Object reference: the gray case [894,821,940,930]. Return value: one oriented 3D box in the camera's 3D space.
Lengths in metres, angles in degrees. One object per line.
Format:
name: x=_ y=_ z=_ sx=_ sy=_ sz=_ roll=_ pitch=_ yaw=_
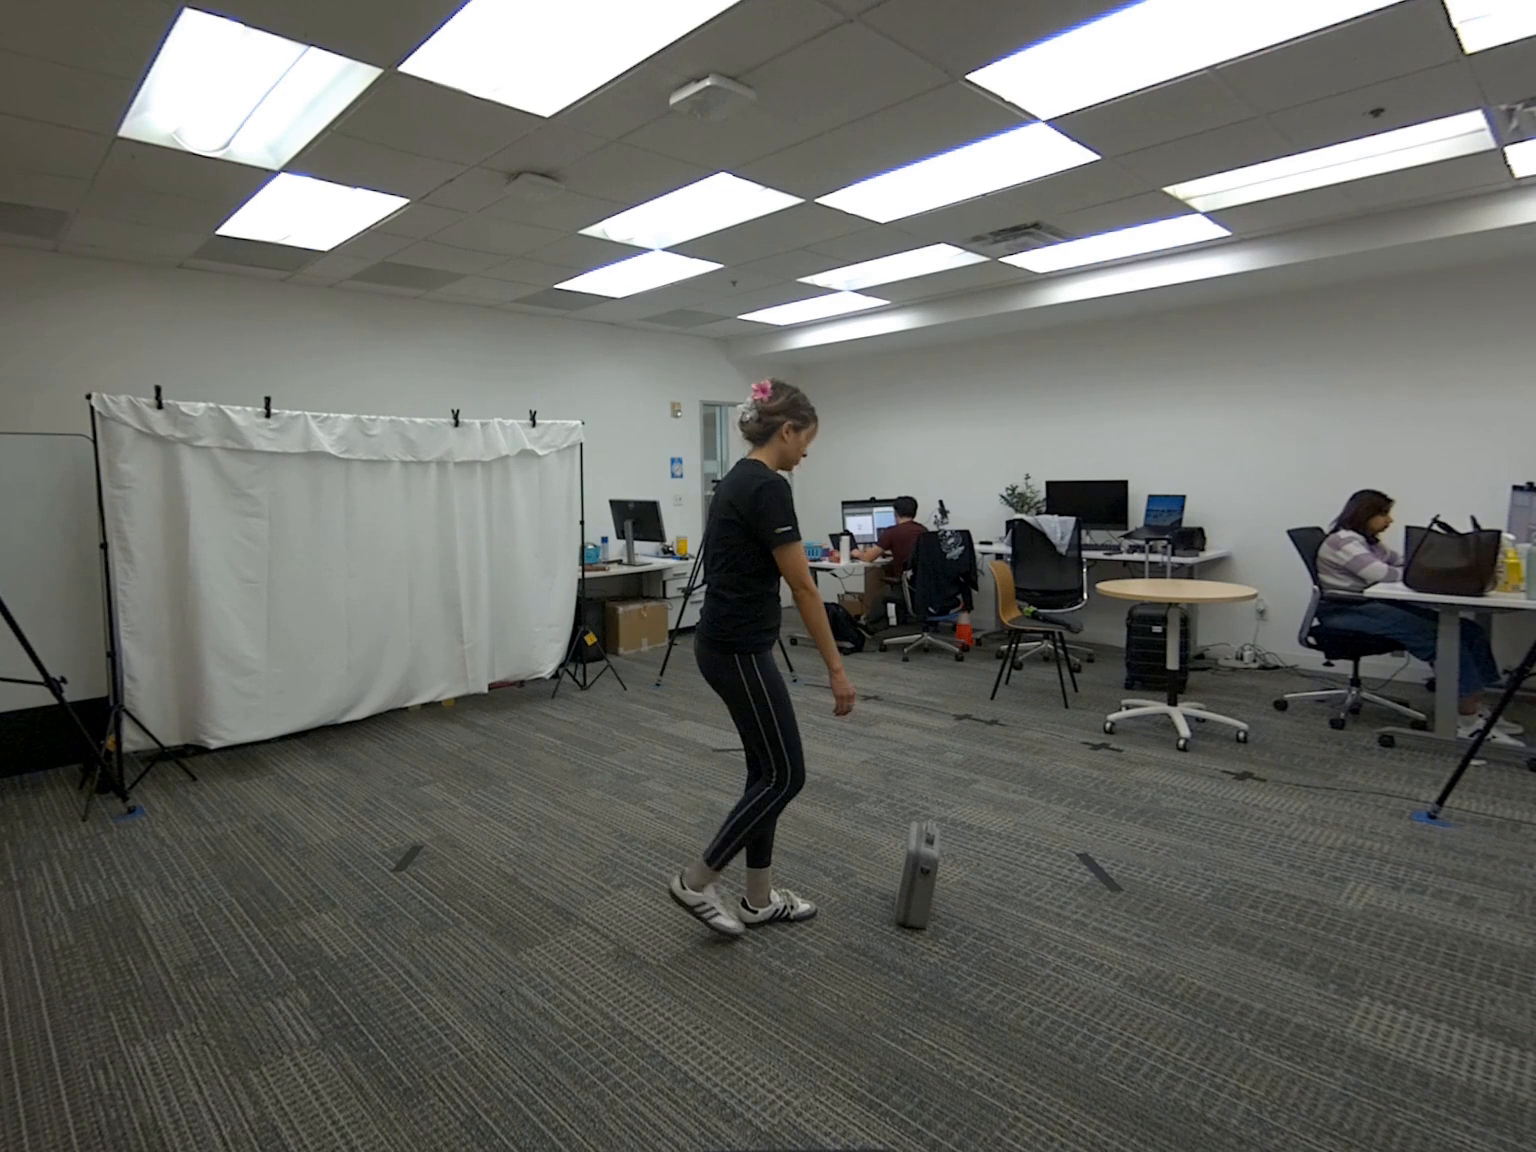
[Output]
gray case: x=0.489 y=0.951 z=2.737 sx=0.106 sy=0.259 sz=0.254 roll=12 pitch=9 yaw=13
